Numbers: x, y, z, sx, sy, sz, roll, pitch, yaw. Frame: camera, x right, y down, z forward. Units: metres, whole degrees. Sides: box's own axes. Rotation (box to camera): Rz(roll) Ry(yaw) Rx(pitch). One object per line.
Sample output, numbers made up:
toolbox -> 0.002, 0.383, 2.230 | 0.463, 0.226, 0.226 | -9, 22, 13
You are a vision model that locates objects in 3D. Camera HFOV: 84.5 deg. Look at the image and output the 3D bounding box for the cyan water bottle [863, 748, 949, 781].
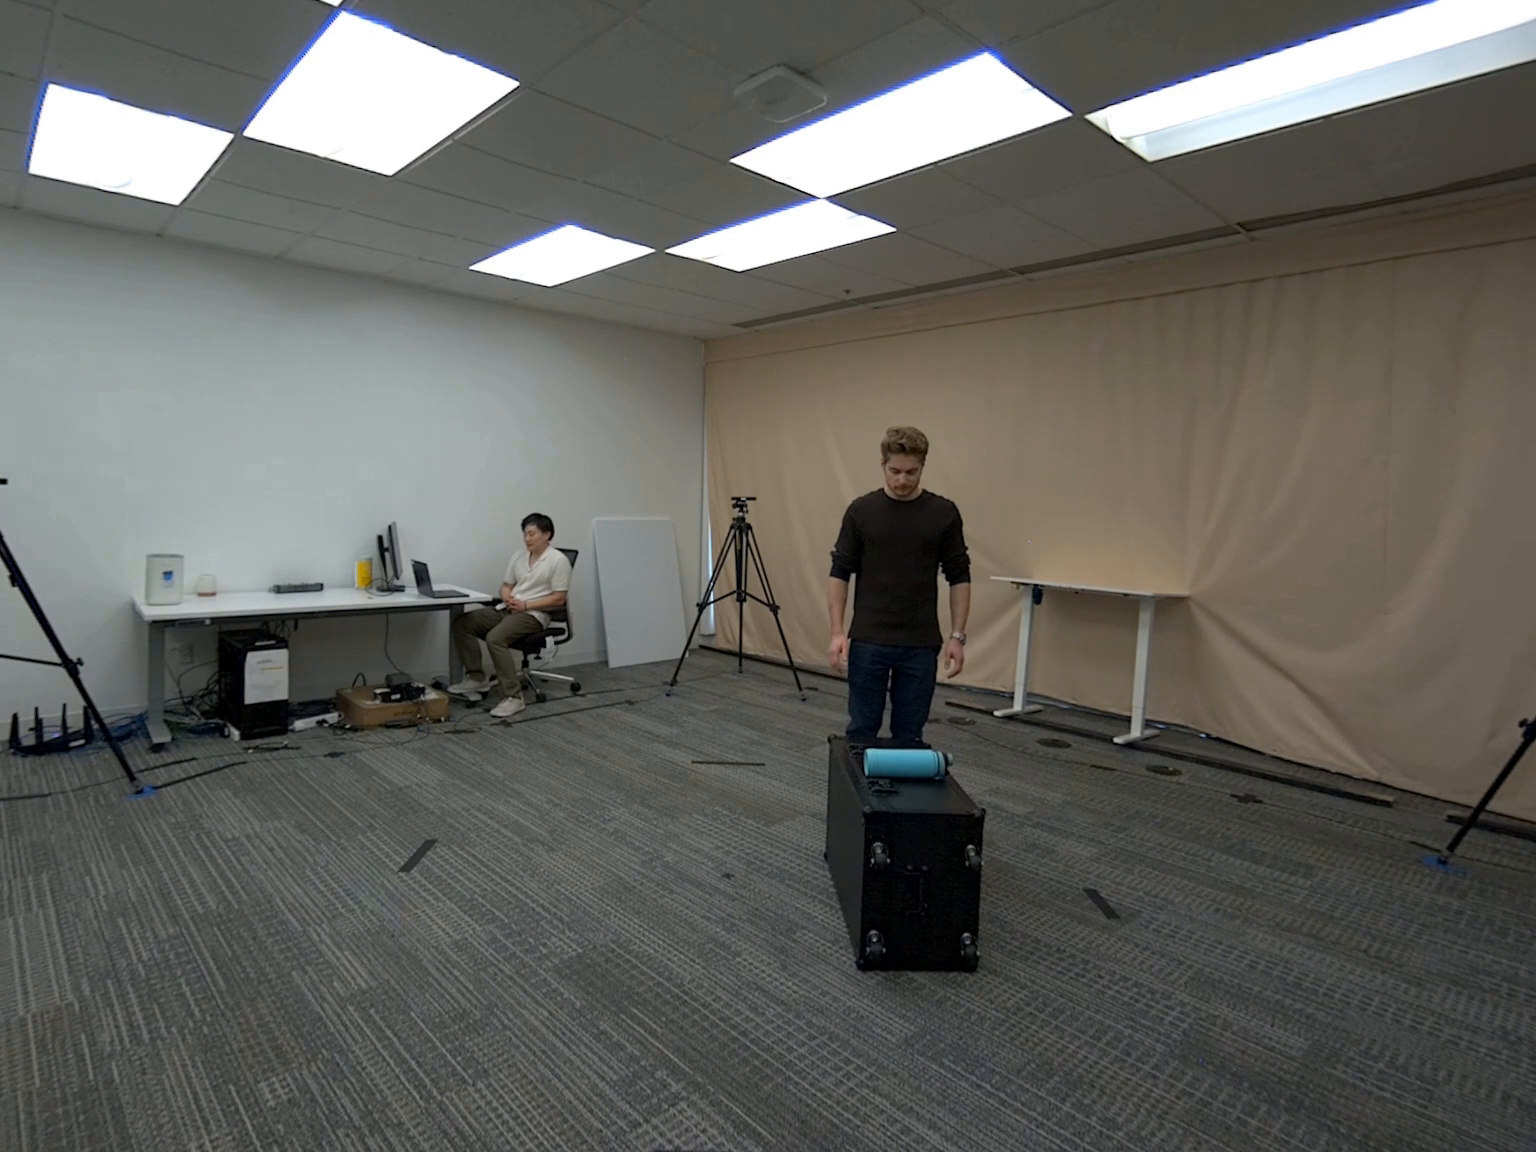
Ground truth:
cyan water bottle -> 0.461, 0.624, 2.785 | 0.283, 0.092, 0.092 | 1, 4, 1
